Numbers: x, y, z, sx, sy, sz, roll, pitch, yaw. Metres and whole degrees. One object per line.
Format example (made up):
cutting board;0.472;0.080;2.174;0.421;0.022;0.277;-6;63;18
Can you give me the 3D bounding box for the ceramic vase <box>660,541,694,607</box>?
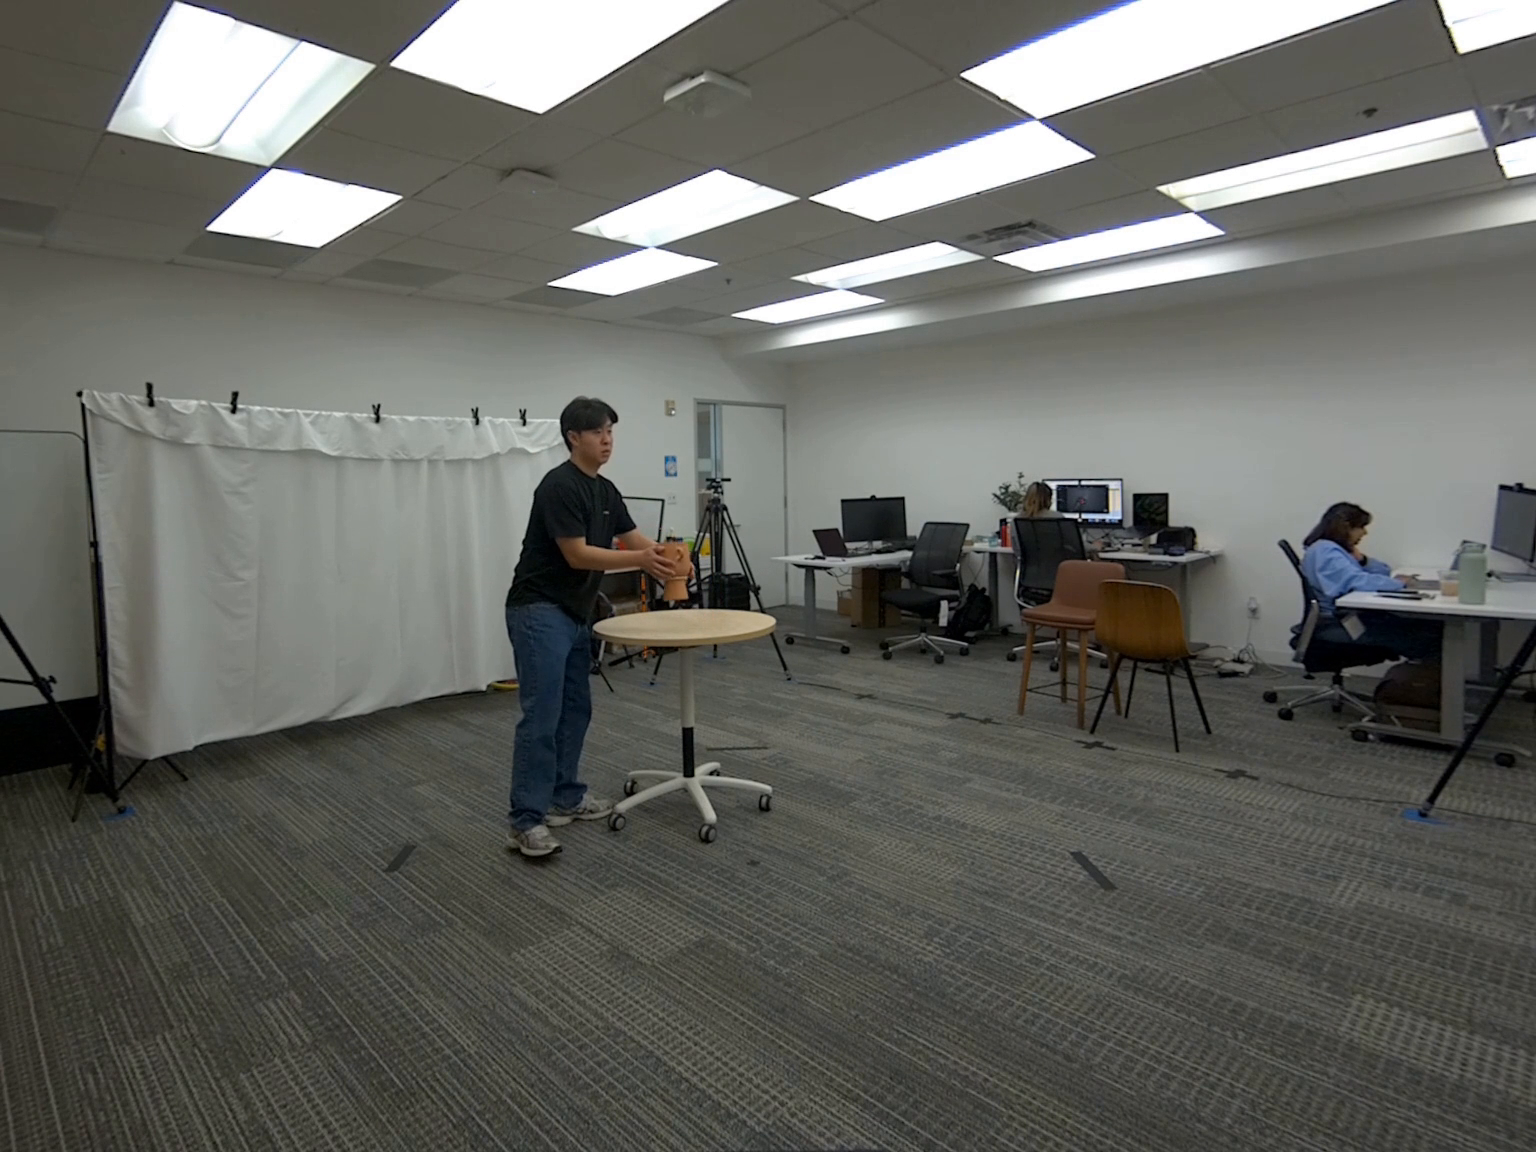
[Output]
ceramic vase;-0.372;-0.016;3.329;0.136;0.220;0.157;-5;-3;9
